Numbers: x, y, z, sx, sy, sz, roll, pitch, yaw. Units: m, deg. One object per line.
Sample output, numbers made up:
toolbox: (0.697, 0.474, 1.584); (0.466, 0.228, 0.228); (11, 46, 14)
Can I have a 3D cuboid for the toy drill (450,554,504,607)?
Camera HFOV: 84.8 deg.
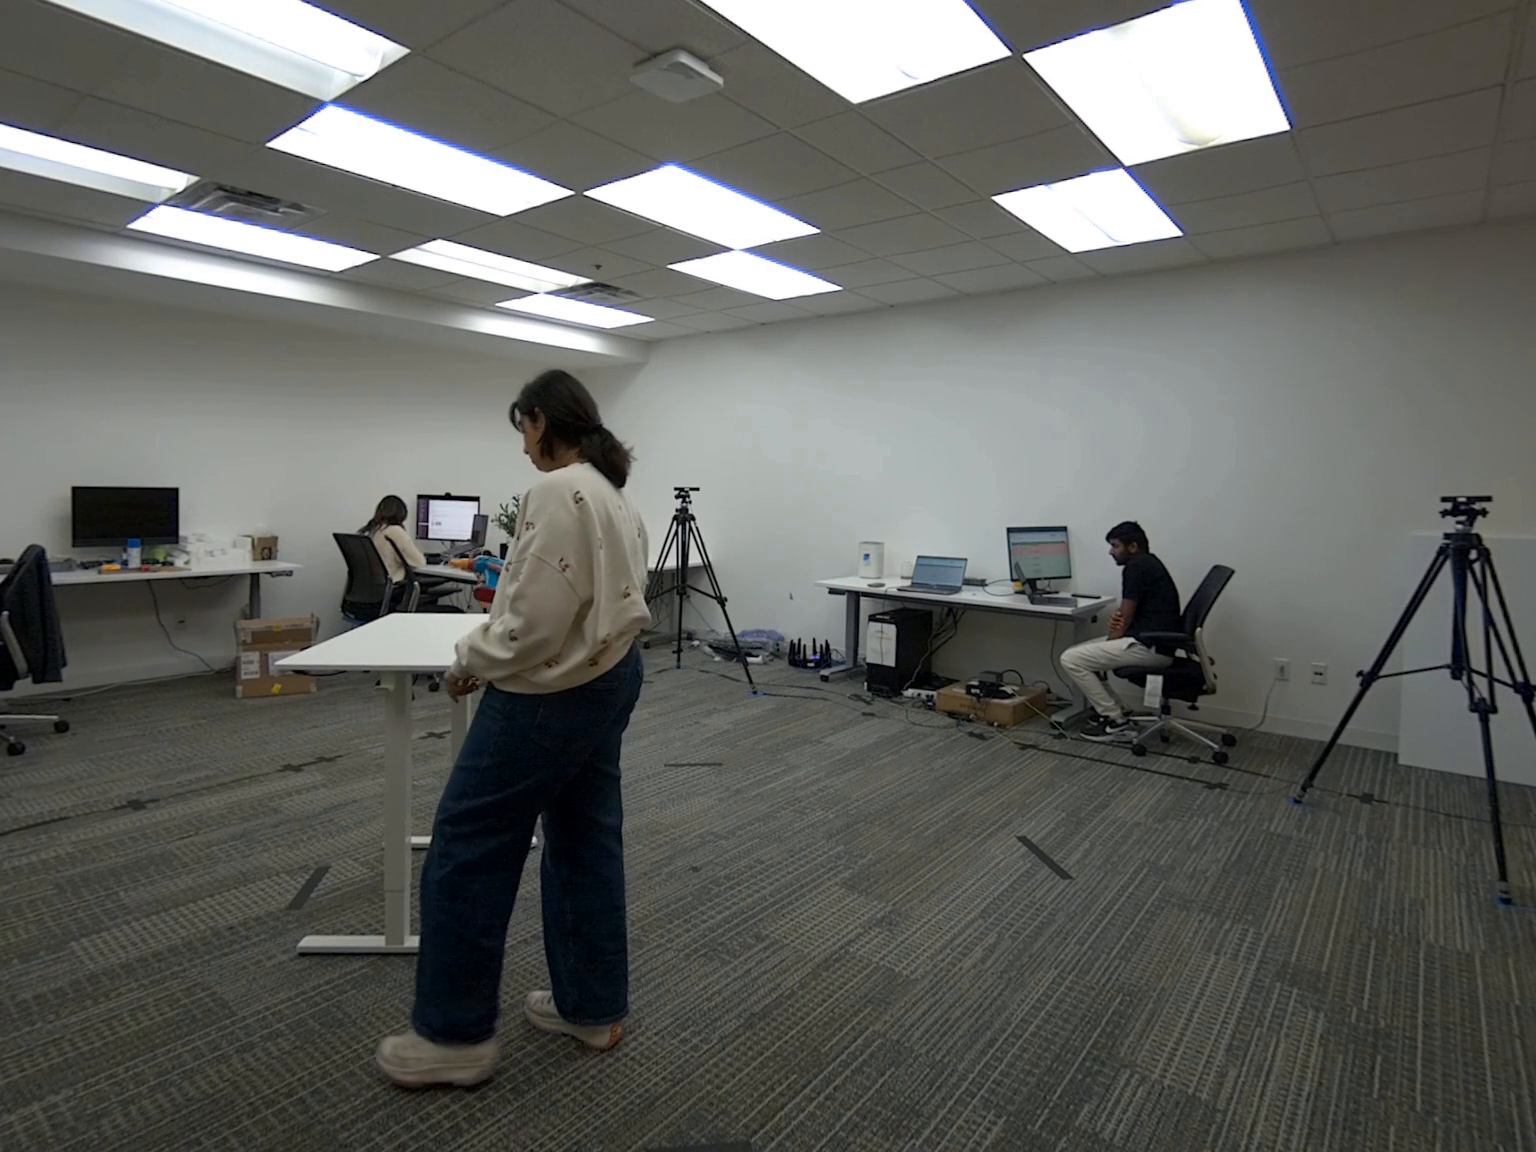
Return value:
toy drill: (-0.786, -0.008, 2.280); (0.168, 0.060, 0.150); (9, 37, -9)
